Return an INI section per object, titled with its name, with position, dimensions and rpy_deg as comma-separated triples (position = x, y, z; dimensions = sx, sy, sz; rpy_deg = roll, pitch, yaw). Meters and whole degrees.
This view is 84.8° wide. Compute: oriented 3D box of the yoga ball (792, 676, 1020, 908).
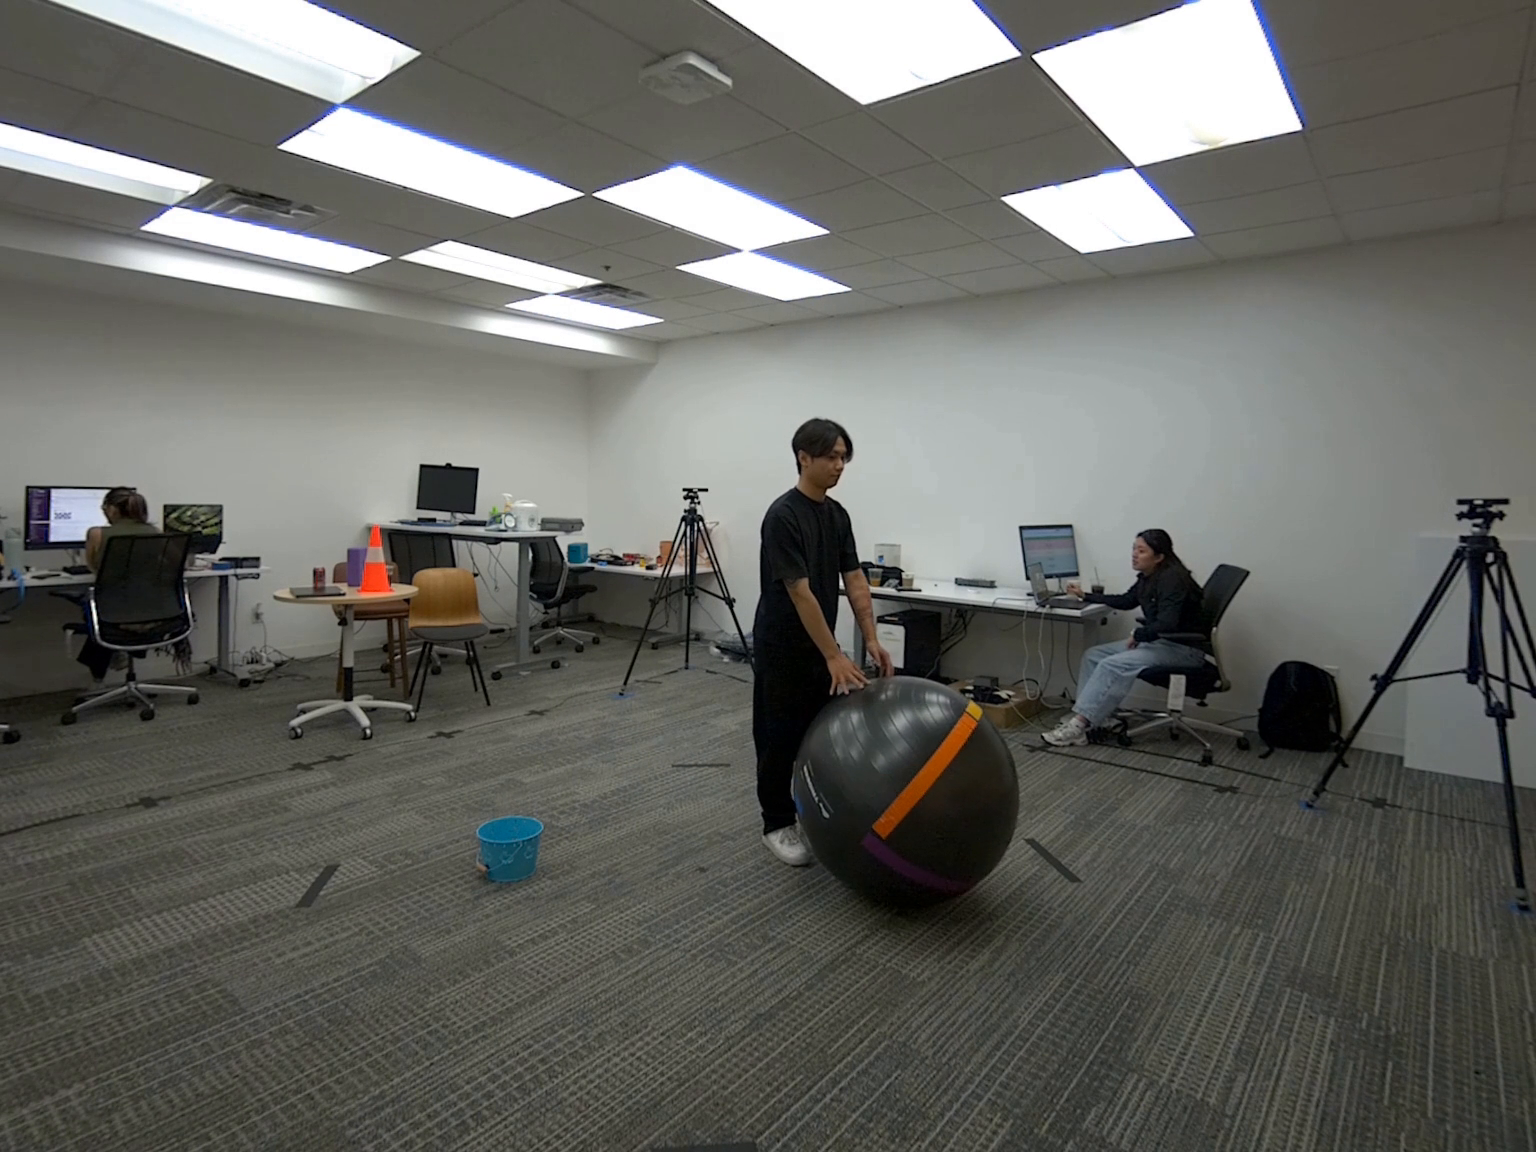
[yoga ball]
position = 0.468, 0.730, 2.943
dimensions = 0.757, 0.755, 0.762
rpy_deg = 1, 4, -2
